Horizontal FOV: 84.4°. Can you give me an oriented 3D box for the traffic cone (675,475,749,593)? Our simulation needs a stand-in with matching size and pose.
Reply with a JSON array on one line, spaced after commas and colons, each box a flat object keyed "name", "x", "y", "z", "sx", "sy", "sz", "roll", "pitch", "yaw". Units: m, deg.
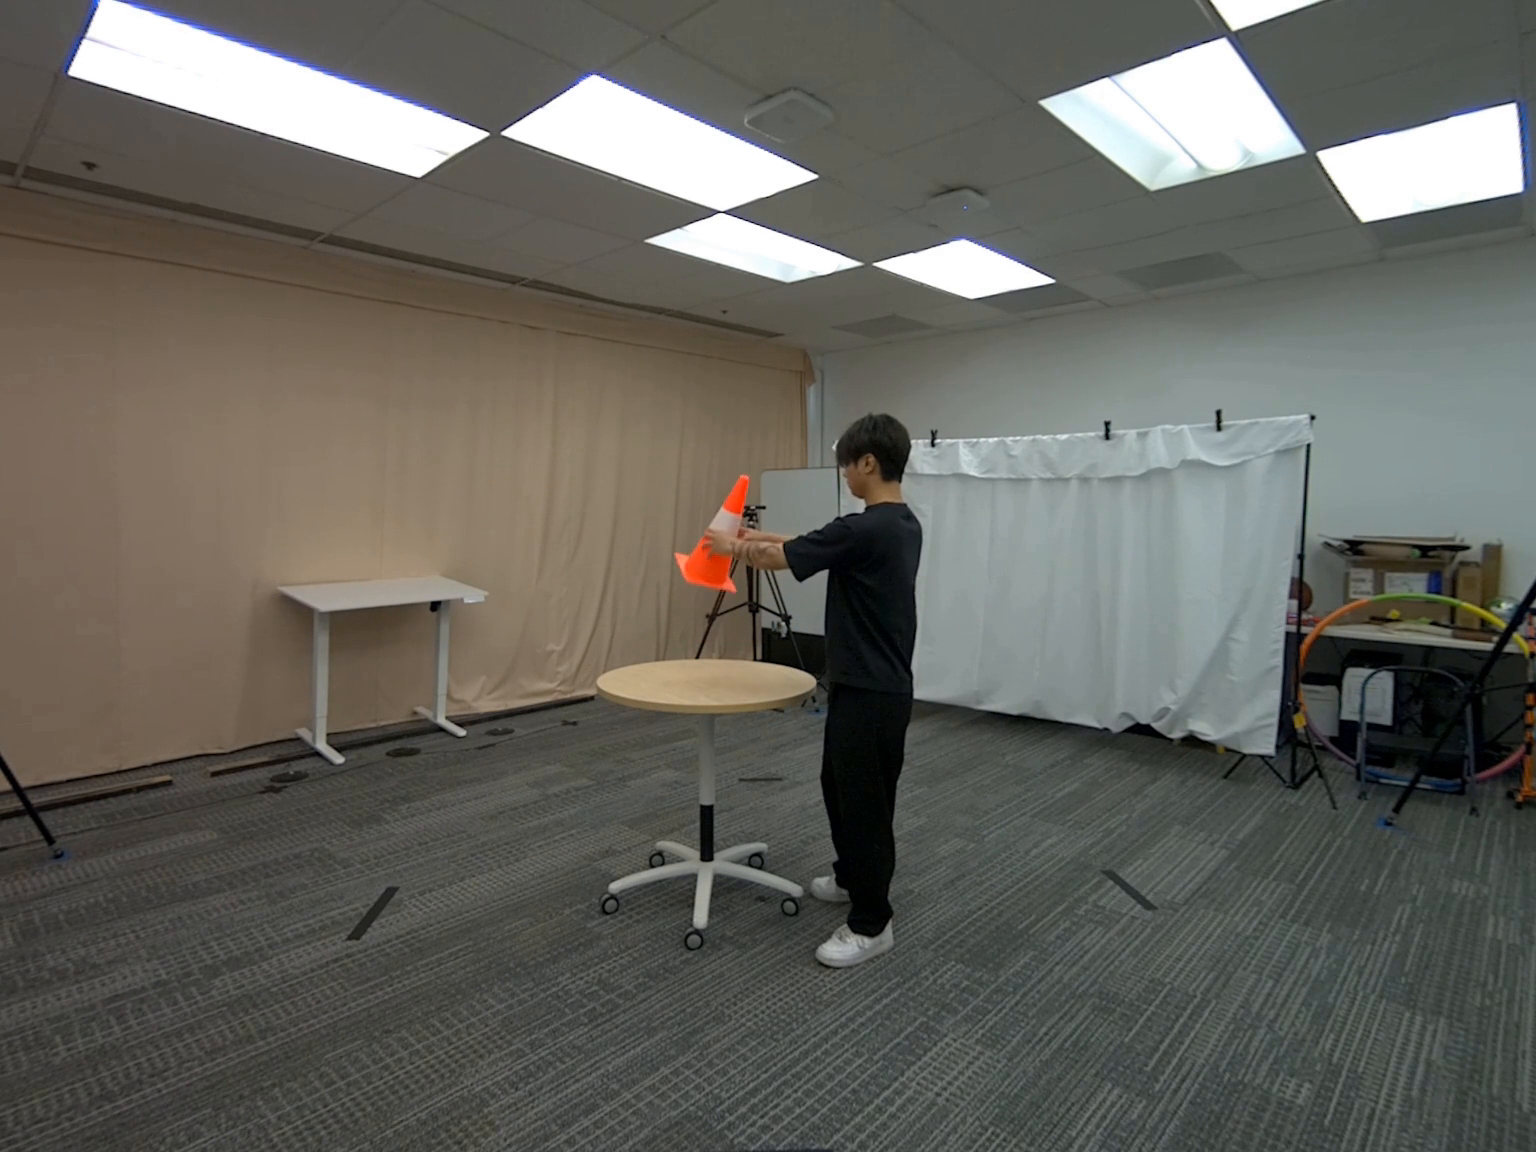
[{"name": "traffic cone", "x": -0.138, "y": -0.169, "z": 2.899, "sx": 0.197, "sy": 0.382, "sz": 0.212, "roll": 9, "pitch": 25, "yaw": -36}]
